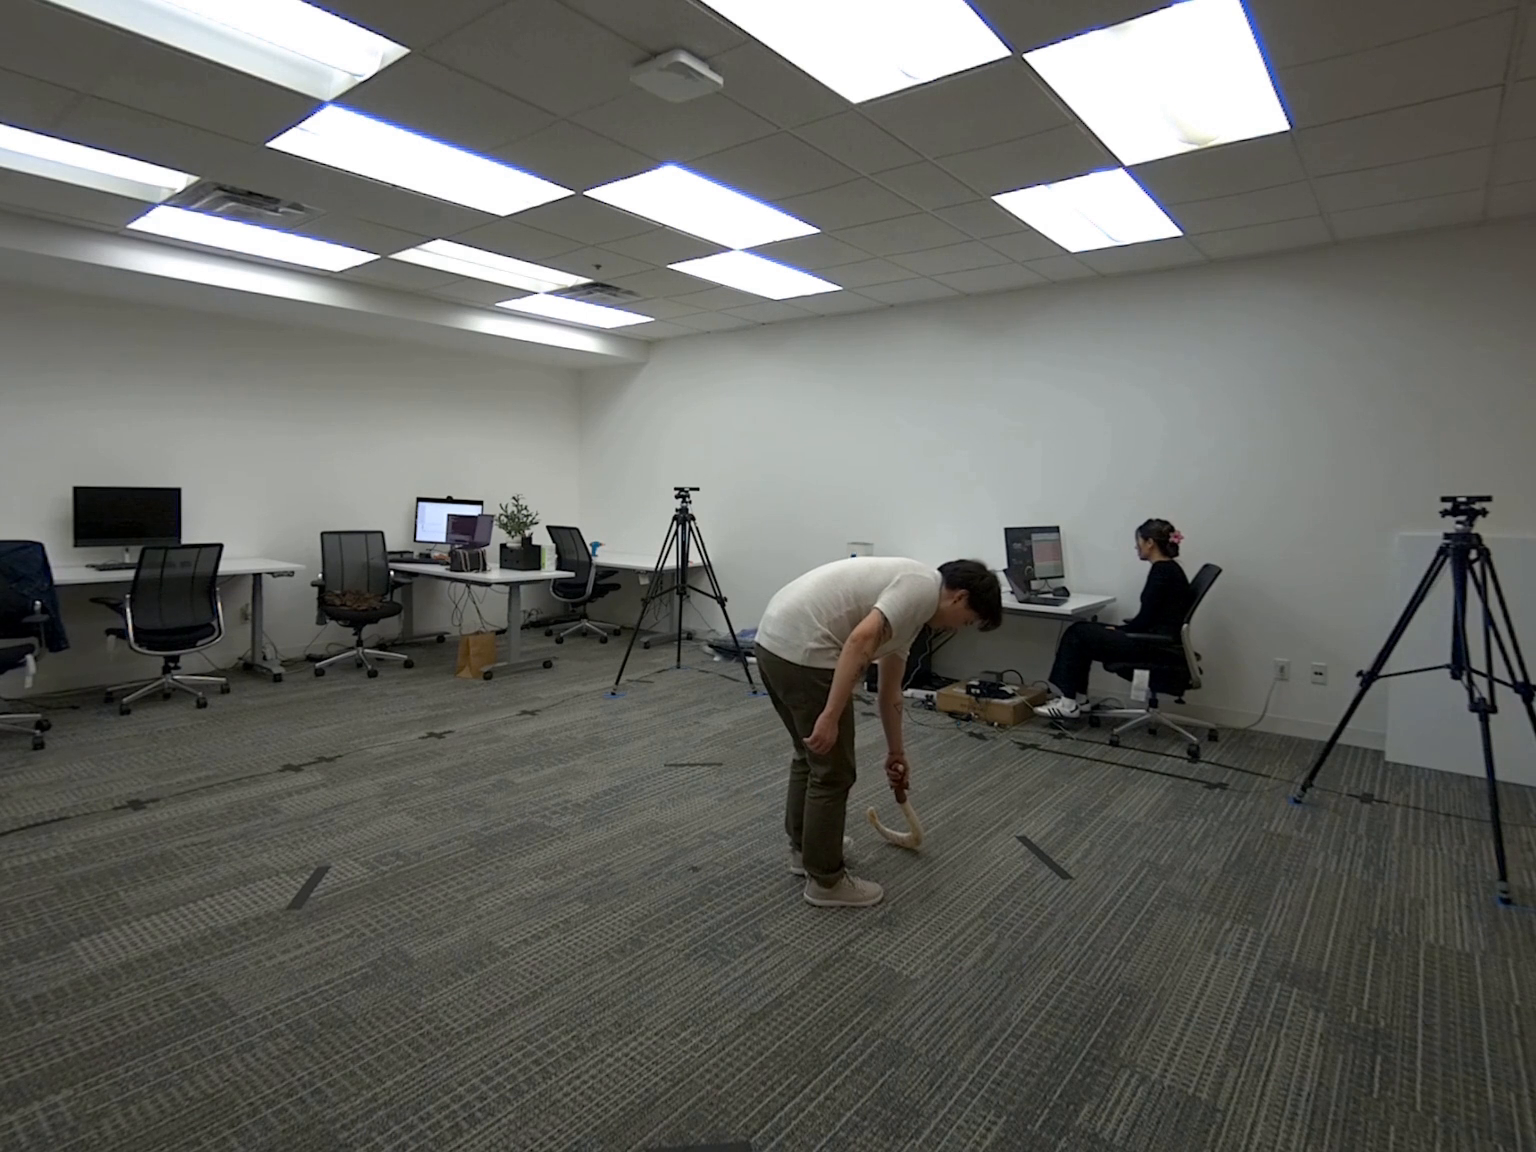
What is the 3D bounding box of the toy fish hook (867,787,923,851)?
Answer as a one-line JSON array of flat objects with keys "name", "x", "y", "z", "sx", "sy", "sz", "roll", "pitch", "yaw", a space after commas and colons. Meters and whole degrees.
[{"name": "toy fish hook", "x": 0.456, "y": 0.860, "z": 3.215, "sx": 0.231, "sy": 0.490, "sz": 0.048, "roll": 5, "pitch": 38, "yaw": 27}]
